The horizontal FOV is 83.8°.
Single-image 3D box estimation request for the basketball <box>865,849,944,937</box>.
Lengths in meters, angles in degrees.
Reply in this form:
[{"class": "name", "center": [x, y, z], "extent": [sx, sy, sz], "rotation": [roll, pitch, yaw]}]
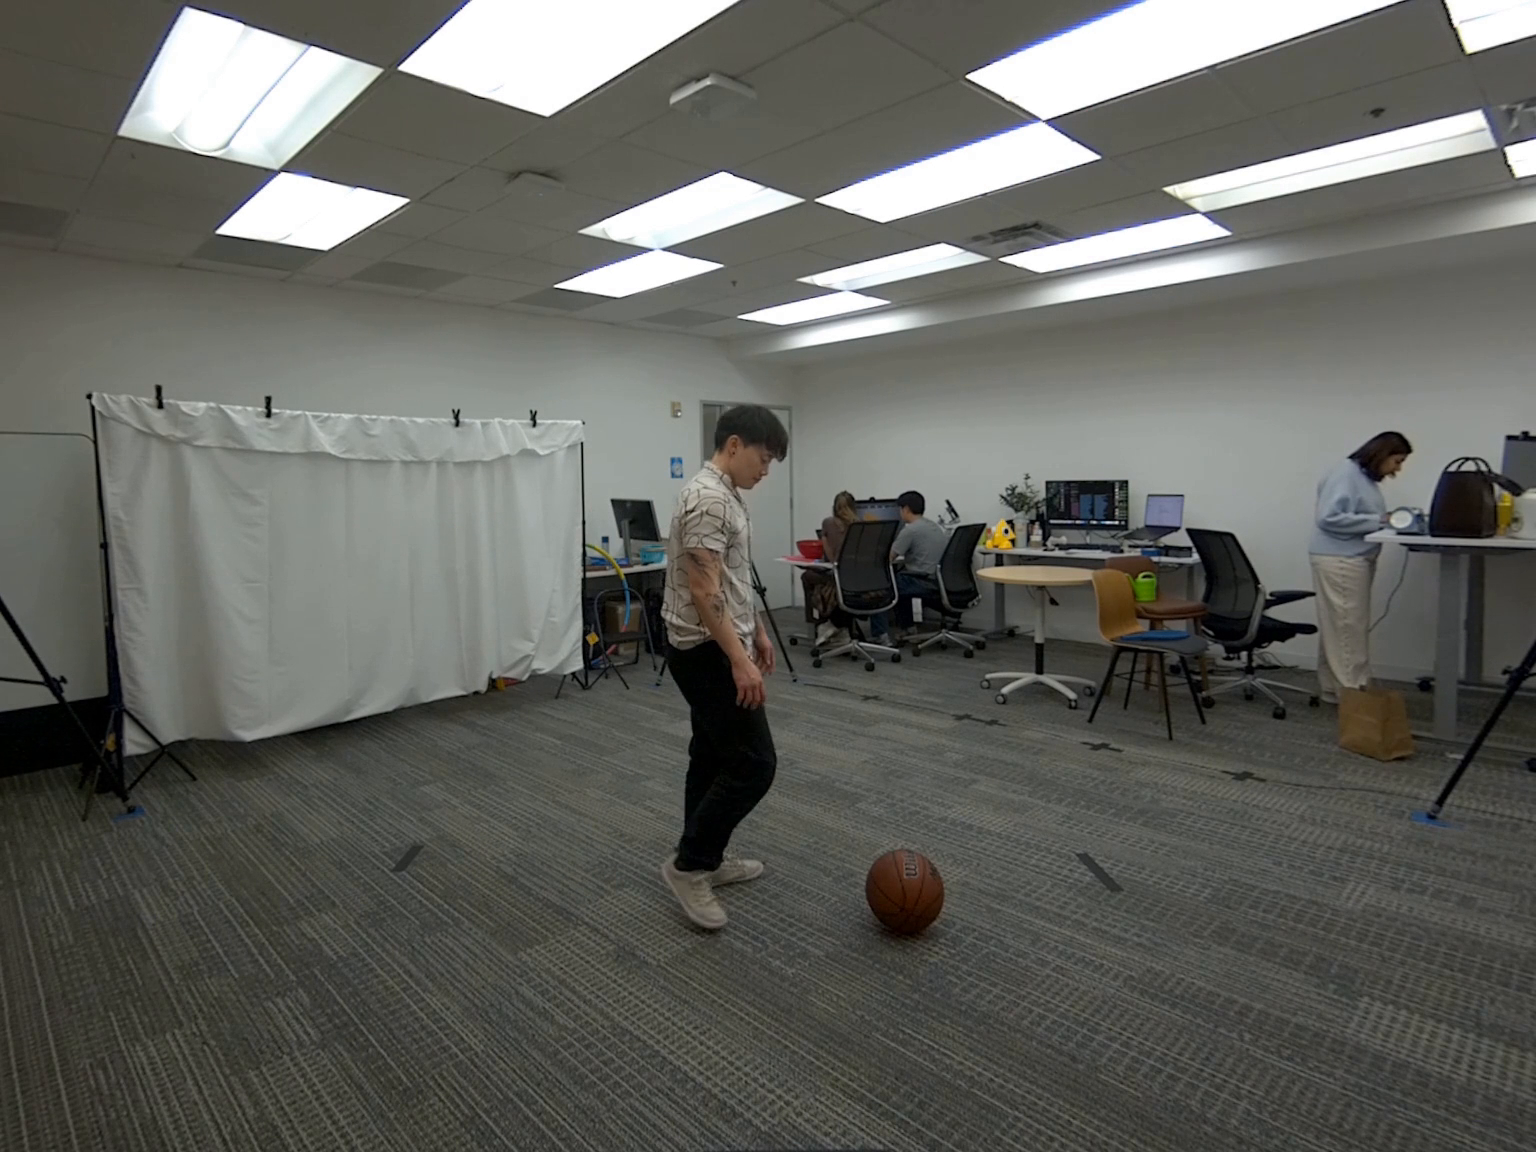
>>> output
[{"class": "basketball", "center": [0.428, 0.969, 2.643], "extent": [0.236, 0.235, 0.237], "rotation": [-1, 5, -2]}]
